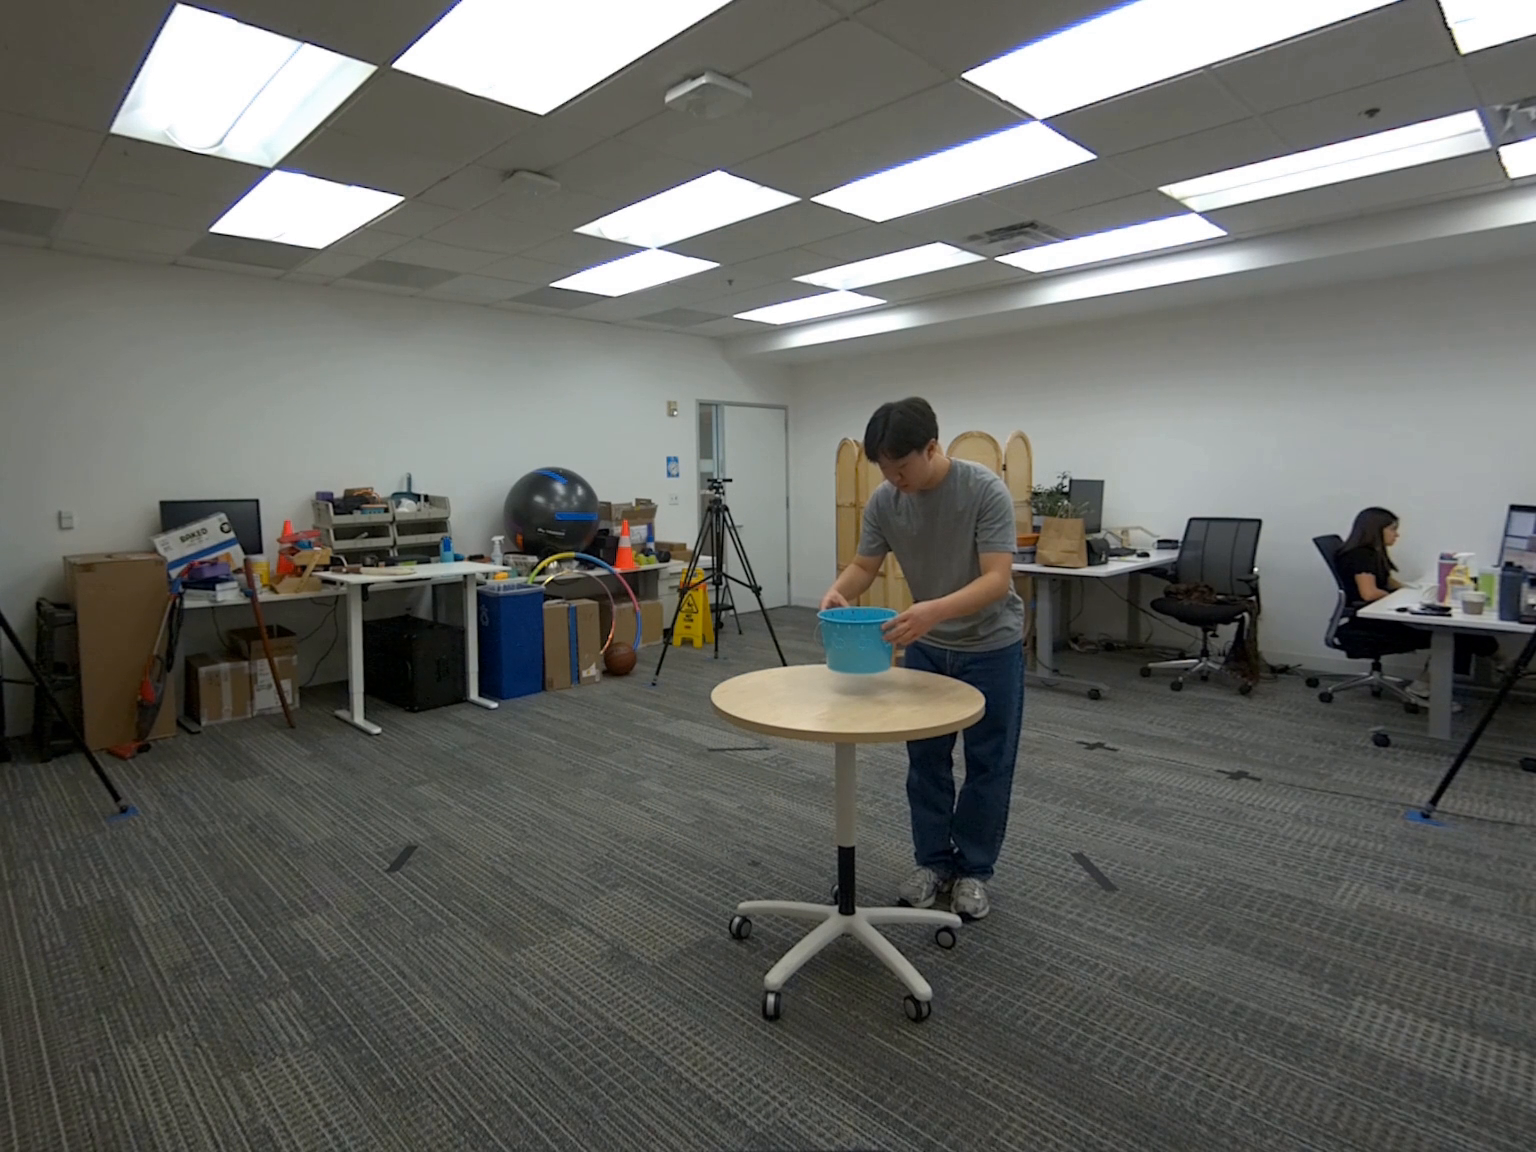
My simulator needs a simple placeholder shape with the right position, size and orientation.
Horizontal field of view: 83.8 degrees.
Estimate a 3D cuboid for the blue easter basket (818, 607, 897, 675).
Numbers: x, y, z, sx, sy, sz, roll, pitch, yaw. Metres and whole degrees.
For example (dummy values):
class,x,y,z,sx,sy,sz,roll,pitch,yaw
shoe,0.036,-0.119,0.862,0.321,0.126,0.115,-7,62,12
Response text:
class,x,y,z,sx,sy,sz,roll,pitch,yaw
blue easter basket,0.265,0.188,2.438,0.243,0.155,0.245,1,6,-2
